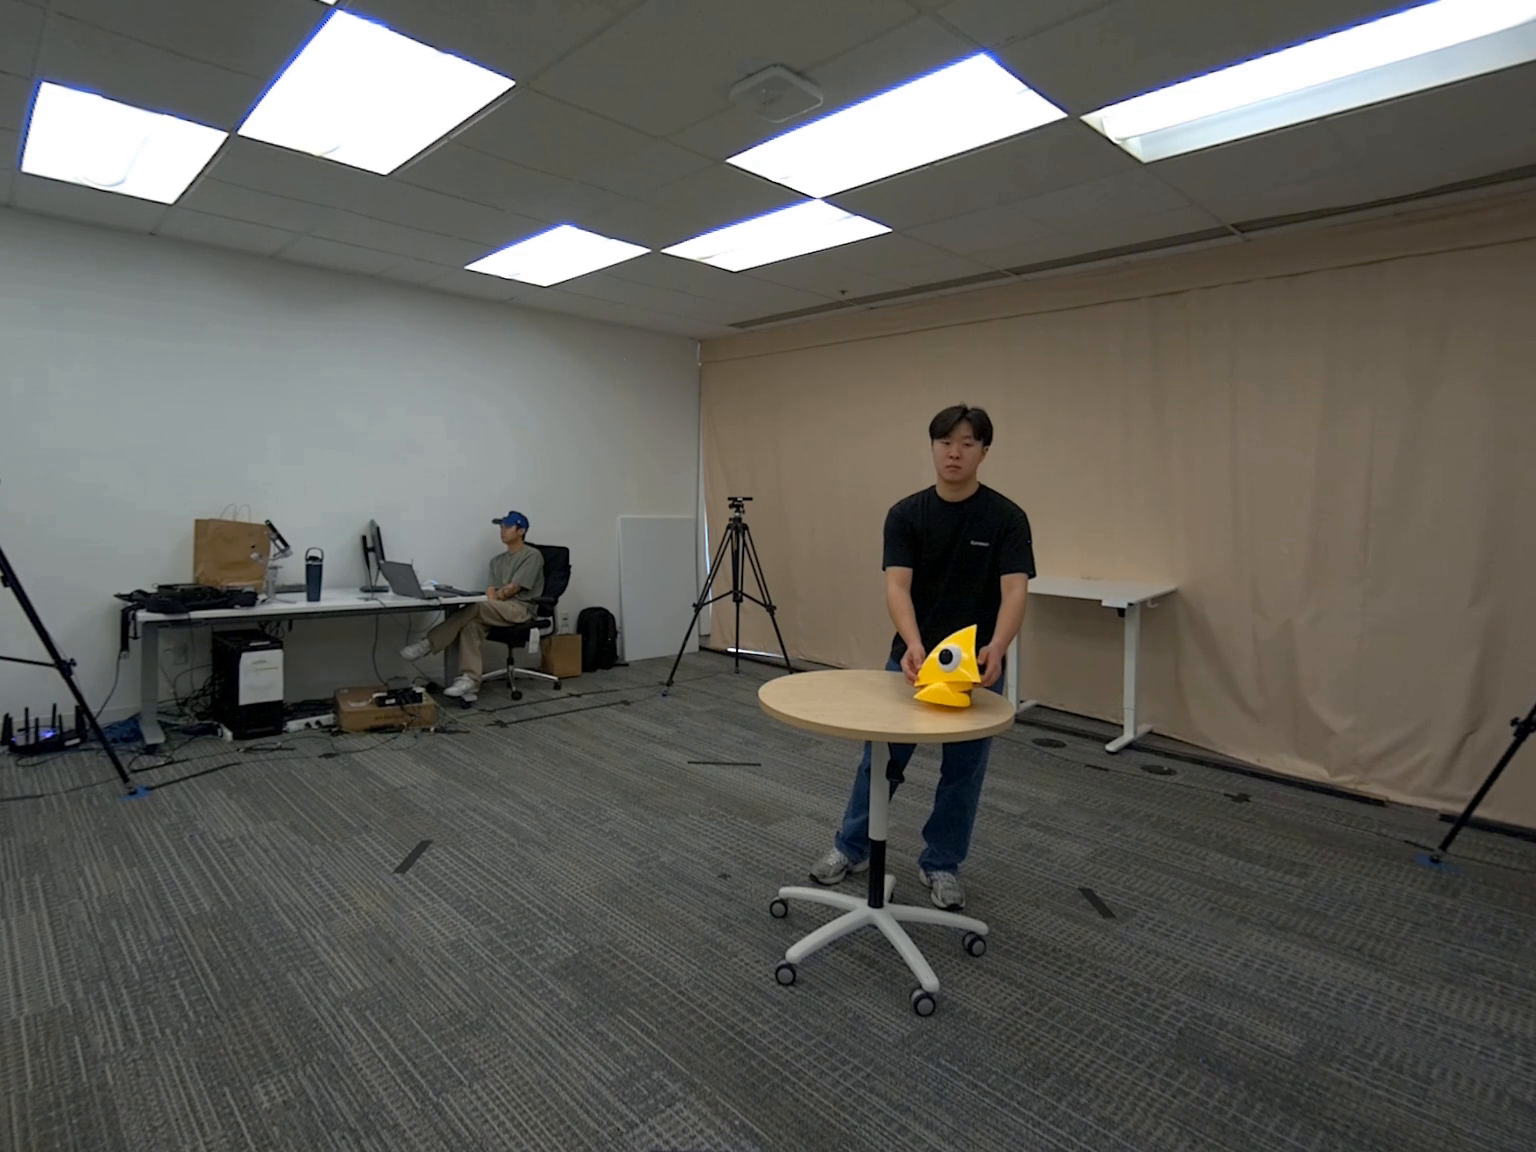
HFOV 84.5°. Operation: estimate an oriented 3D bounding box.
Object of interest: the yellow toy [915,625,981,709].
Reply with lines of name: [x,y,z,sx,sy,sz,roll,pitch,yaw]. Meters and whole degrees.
yellow toy: [0.534,0.252,2.492,0.196,0.230,0.202,6,1,17]
